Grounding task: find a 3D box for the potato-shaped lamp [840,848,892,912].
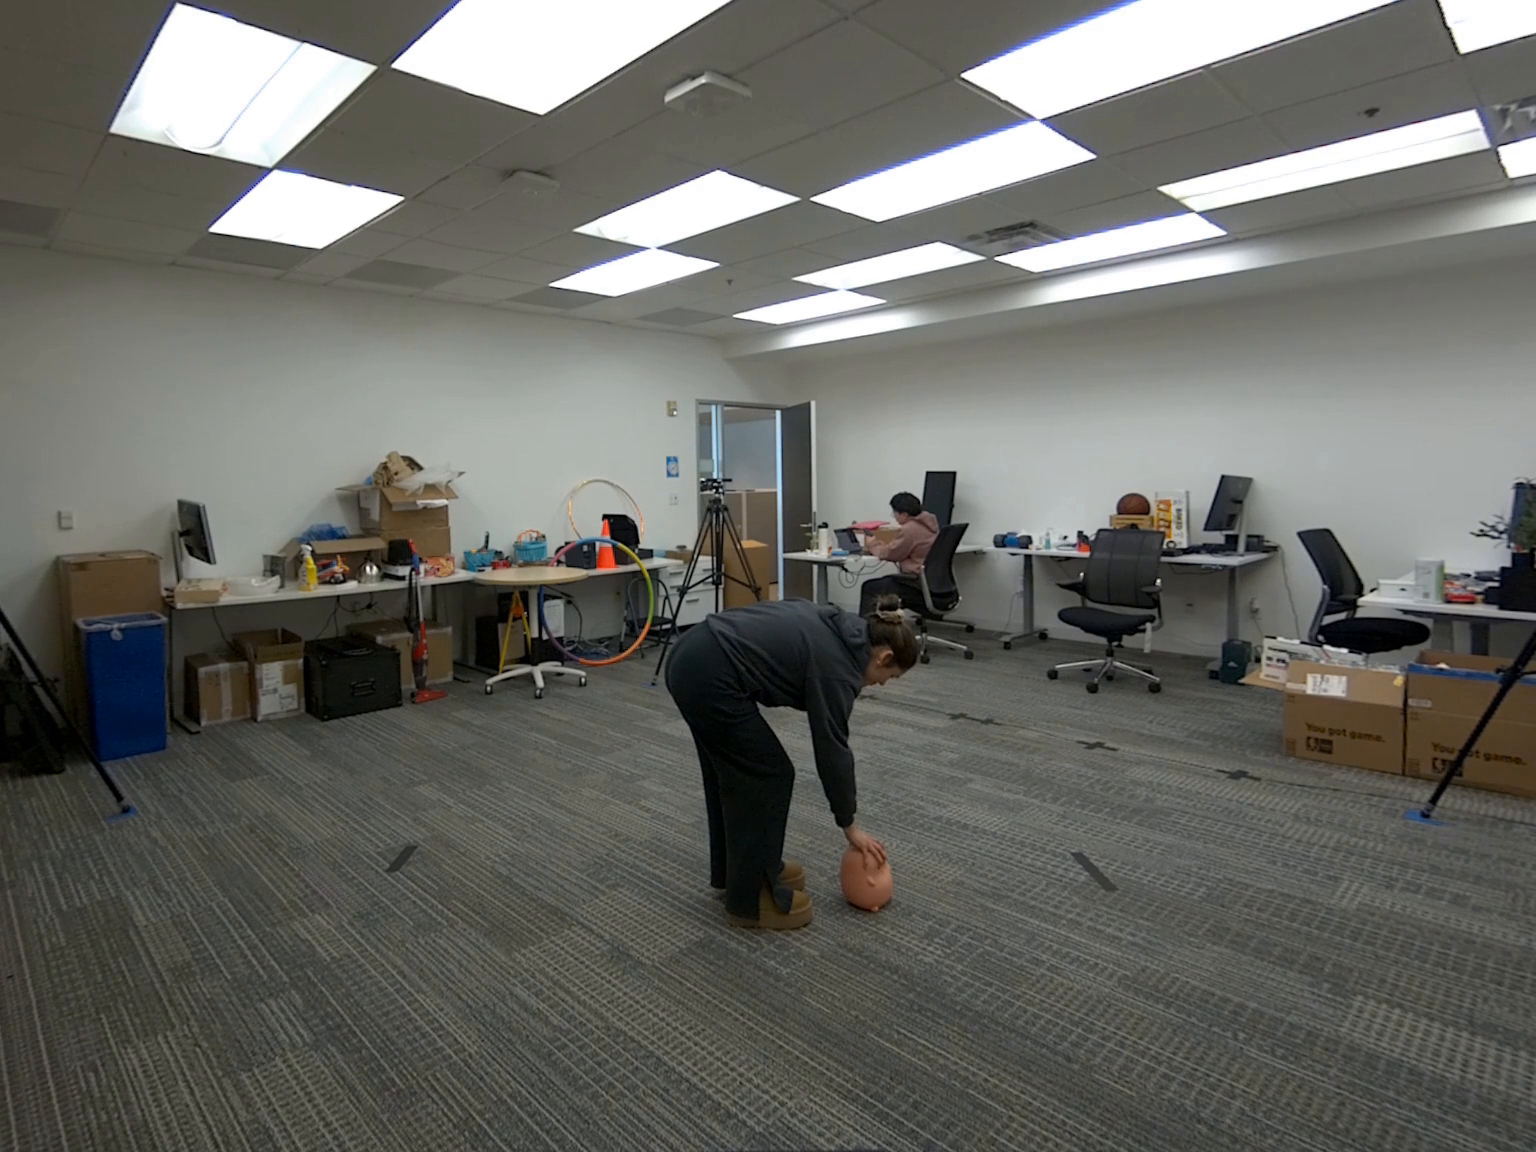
[{"bbox_3d":[0.320,0.966,2.788,0.177,0.197,0.160,9,11,41],"label":"potato-shaped lamp"}]
